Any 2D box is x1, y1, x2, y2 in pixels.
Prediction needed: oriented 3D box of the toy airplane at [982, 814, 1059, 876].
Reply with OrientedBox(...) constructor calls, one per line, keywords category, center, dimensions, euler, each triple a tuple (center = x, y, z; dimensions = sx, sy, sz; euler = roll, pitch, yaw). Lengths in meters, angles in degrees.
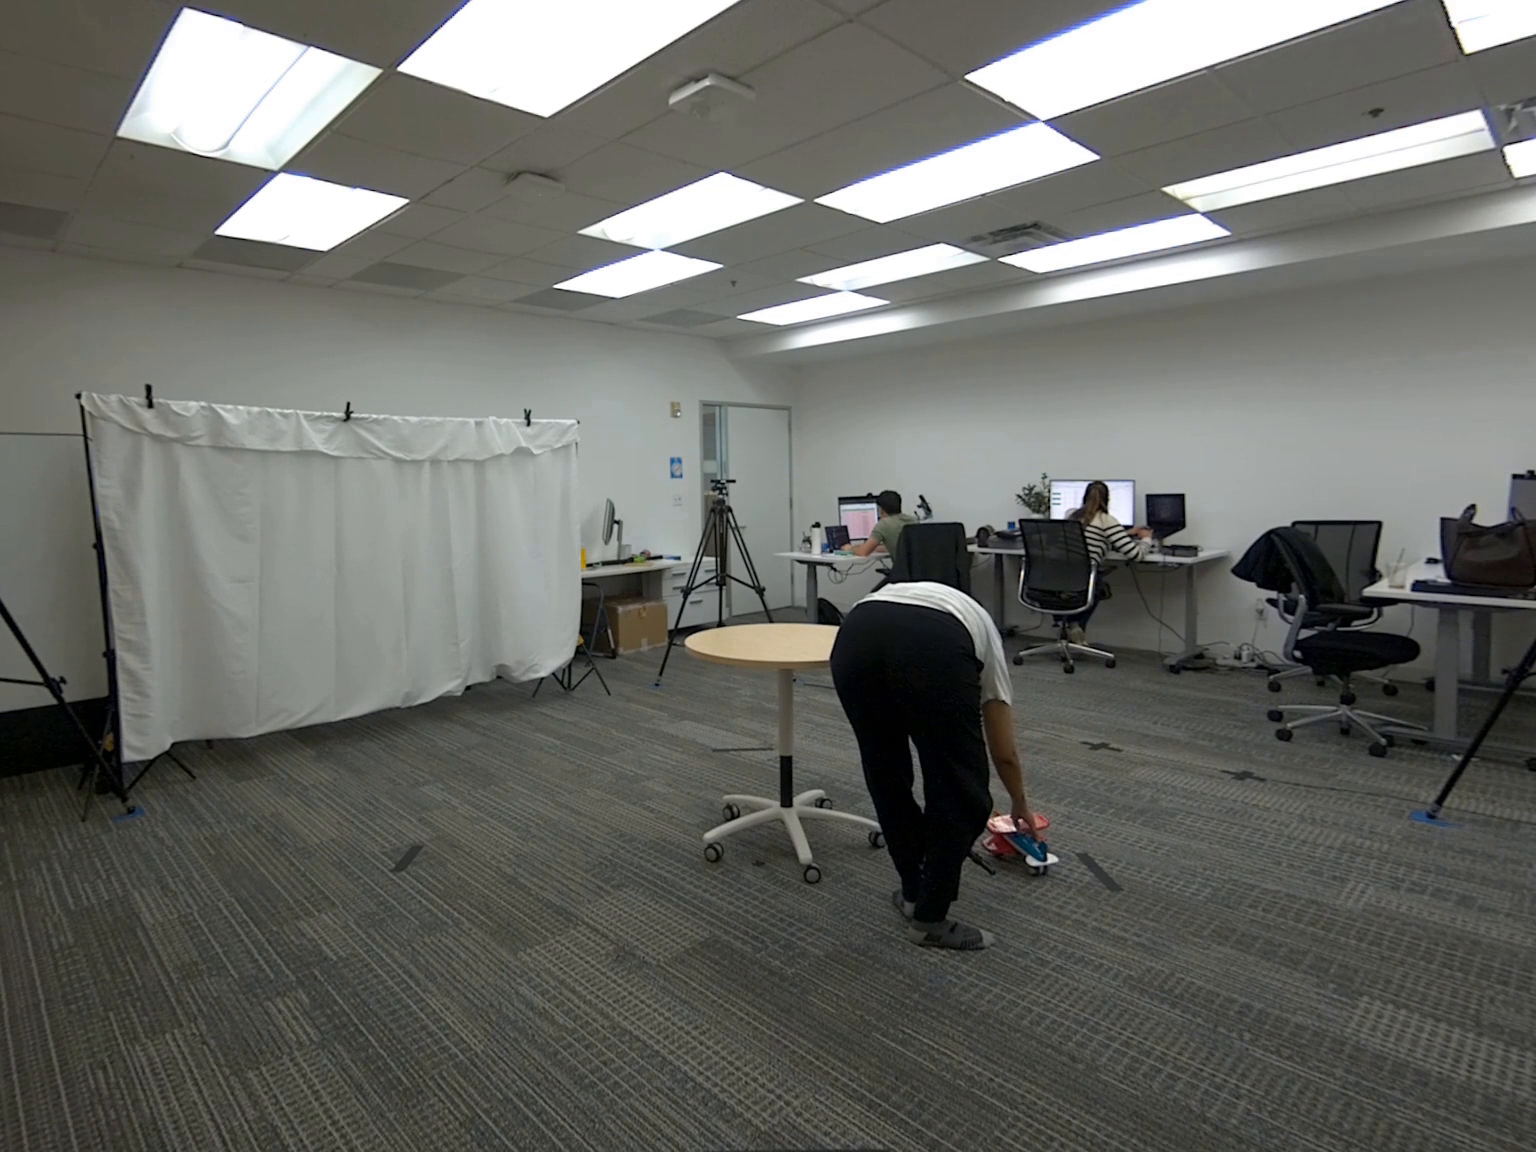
OrientedBox(category="toy airplane", center=(0.935, 0.962, 3.072), dimensions=(0.267, 0.156, 0.244), euler=(3, 5, 44))
